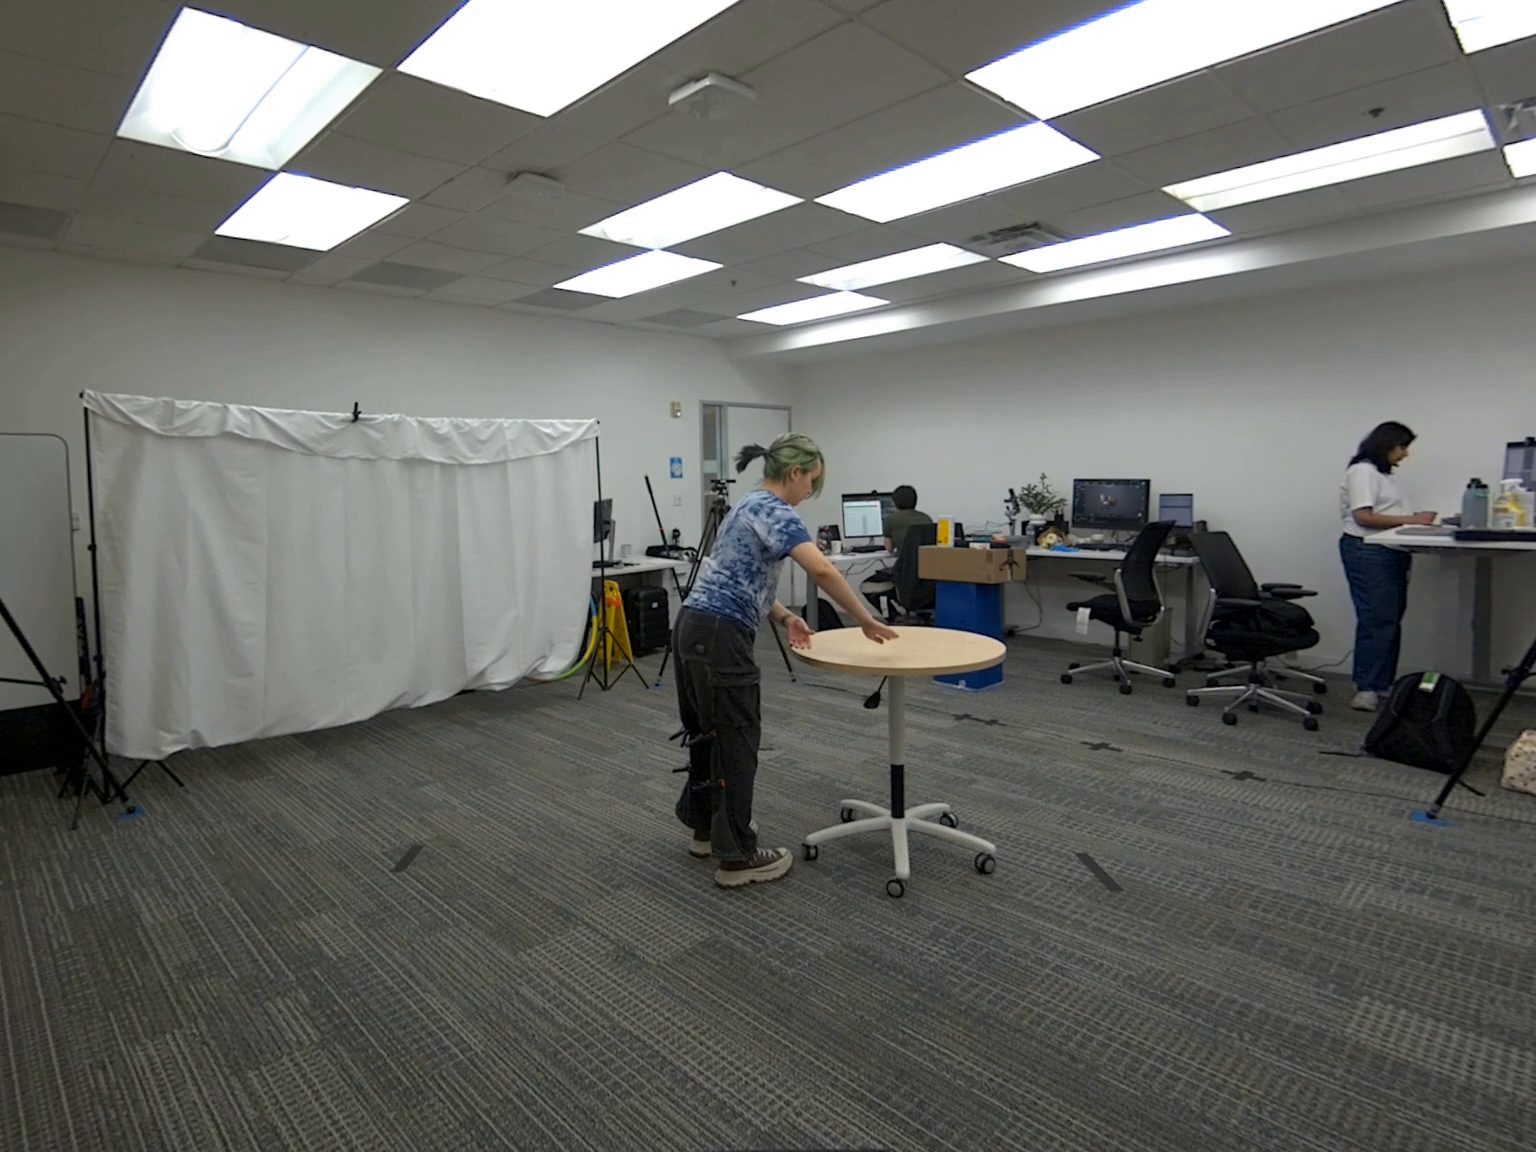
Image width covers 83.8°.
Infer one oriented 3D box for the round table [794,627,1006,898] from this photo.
[{"bbox_3d":[0.471,0.642,3.152,0.763,0.791,0.768,-1,5,-2],"label":"round table"}]
